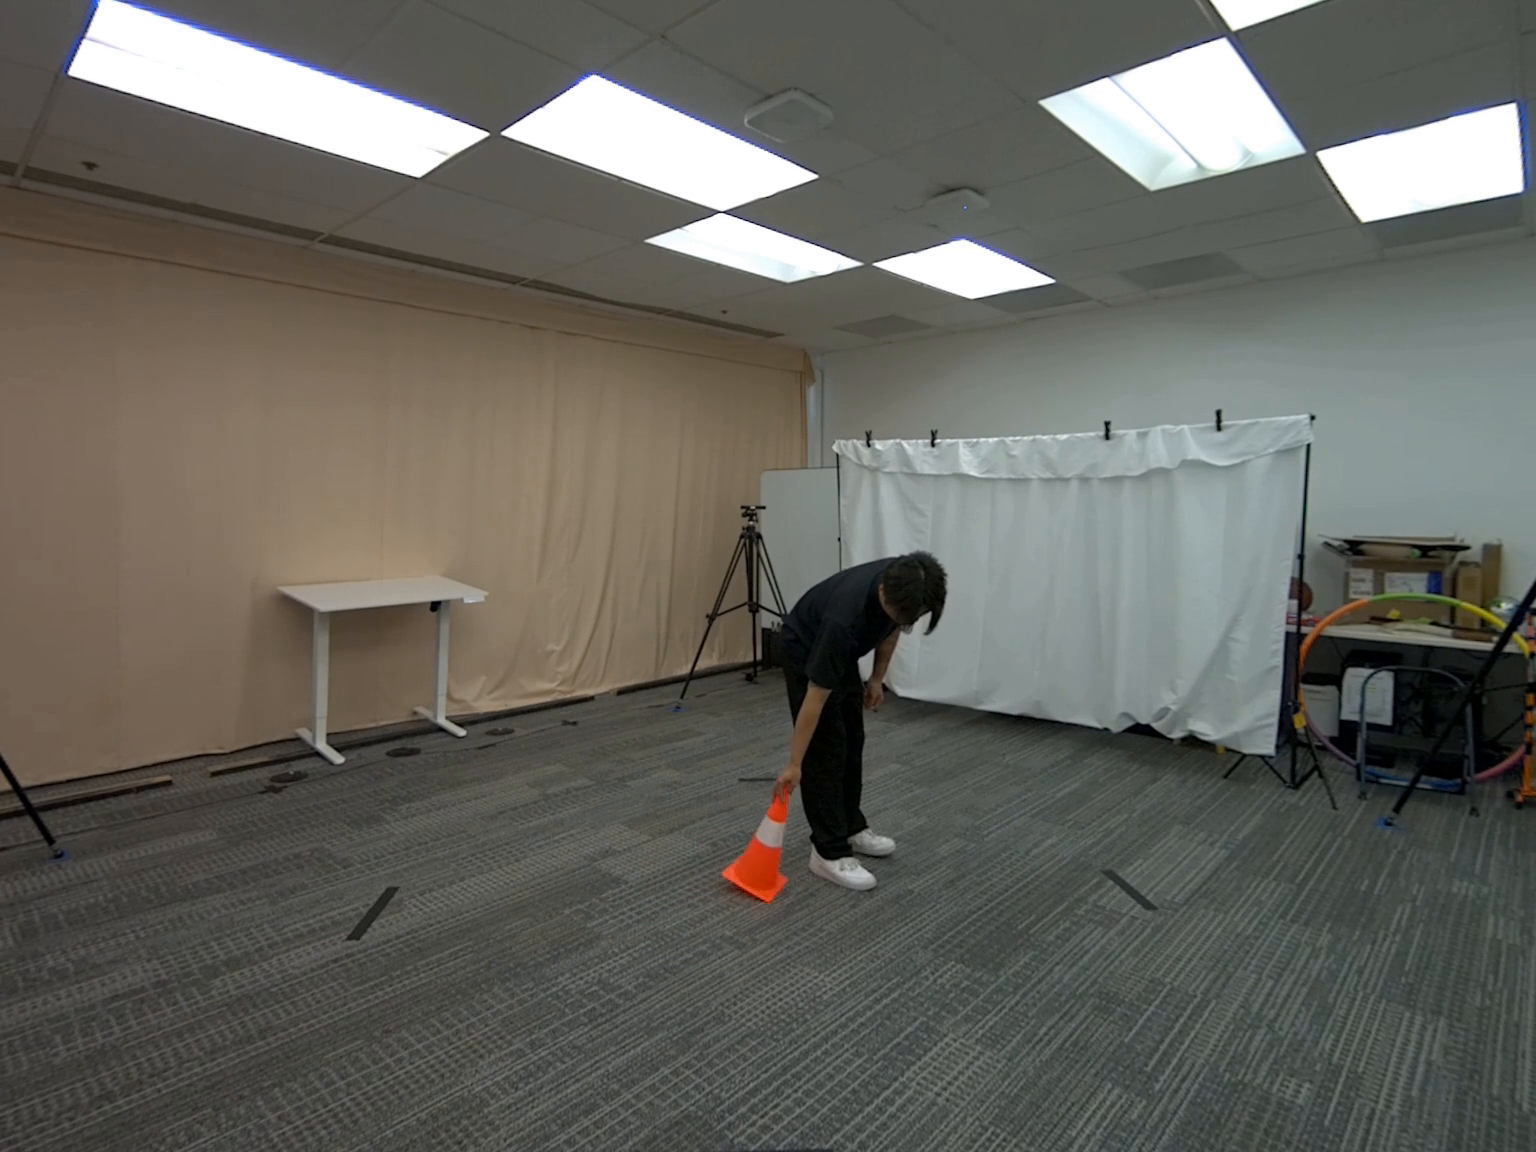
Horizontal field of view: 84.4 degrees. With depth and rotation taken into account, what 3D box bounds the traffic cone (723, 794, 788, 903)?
[{"bbox_3d":[0.013,0.935,3.038,0.211,0.382,0.198,21,12,27],"label":"traffic cone"}]
